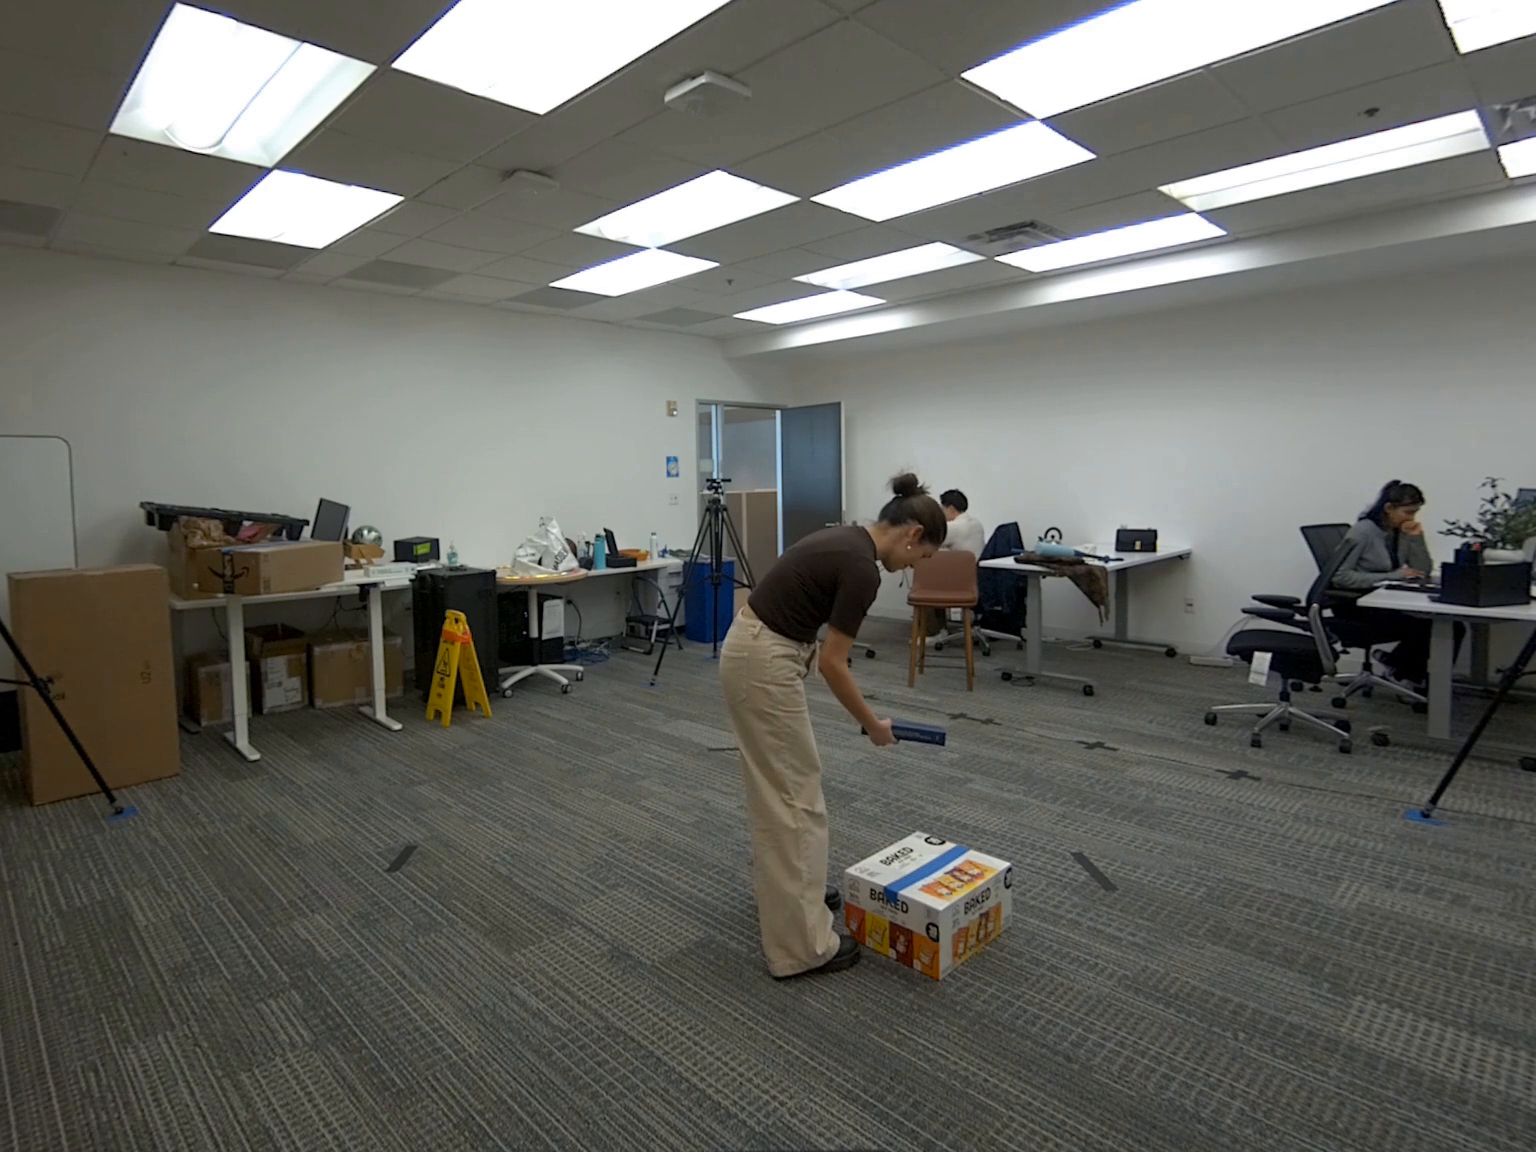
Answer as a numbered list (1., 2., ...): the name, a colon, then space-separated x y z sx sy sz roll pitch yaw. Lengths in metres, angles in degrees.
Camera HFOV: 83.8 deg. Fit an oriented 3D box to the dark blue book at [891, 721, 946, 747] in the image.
1. dark blue book: 0.415 0.457 2.595 0.248 0.045 0.161 6 0 10
